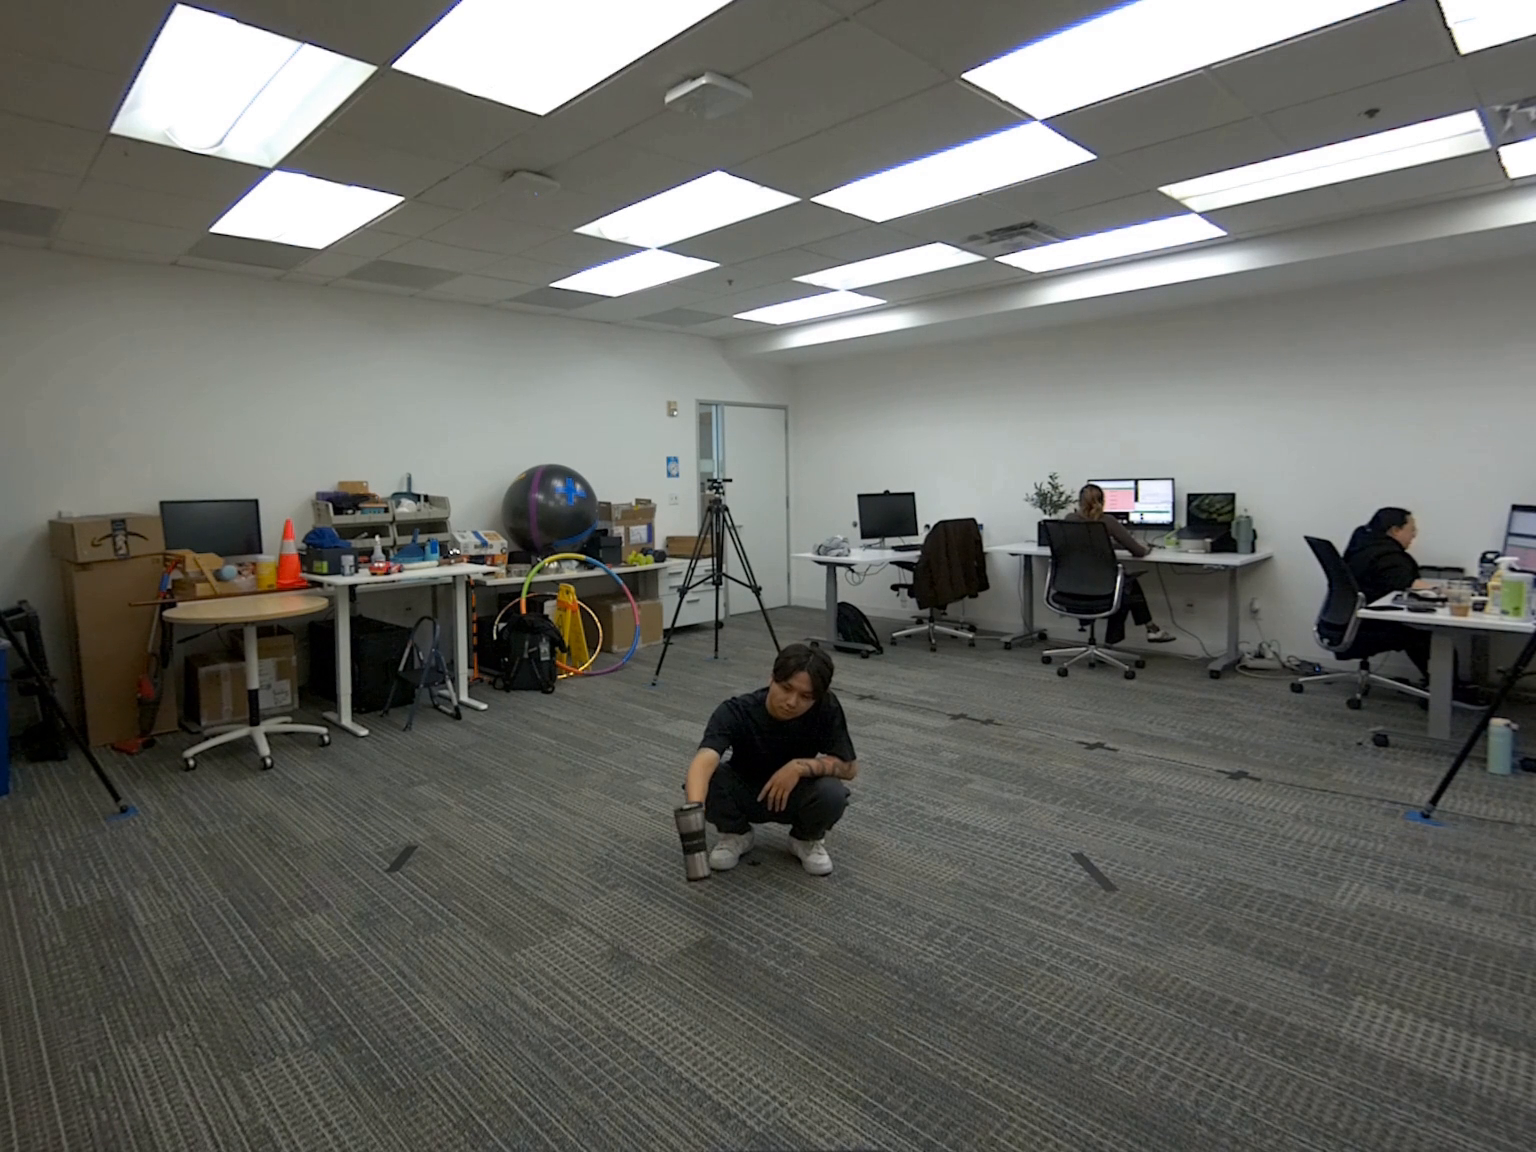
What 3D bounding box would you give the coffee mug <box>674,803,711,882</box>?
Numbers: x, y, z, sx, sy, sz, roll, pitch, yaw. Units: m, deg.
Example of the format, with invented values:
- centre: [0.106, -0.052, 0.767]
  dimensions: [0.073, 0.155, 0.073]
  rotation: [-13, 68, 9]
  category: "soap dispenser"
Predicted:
- centre: [-0.190, 0.752, 2.428]
  dimensions: [0.119, 0.206, 0.089]
  rotation: [-3, -16, -39]
  category: "coffee mug"
